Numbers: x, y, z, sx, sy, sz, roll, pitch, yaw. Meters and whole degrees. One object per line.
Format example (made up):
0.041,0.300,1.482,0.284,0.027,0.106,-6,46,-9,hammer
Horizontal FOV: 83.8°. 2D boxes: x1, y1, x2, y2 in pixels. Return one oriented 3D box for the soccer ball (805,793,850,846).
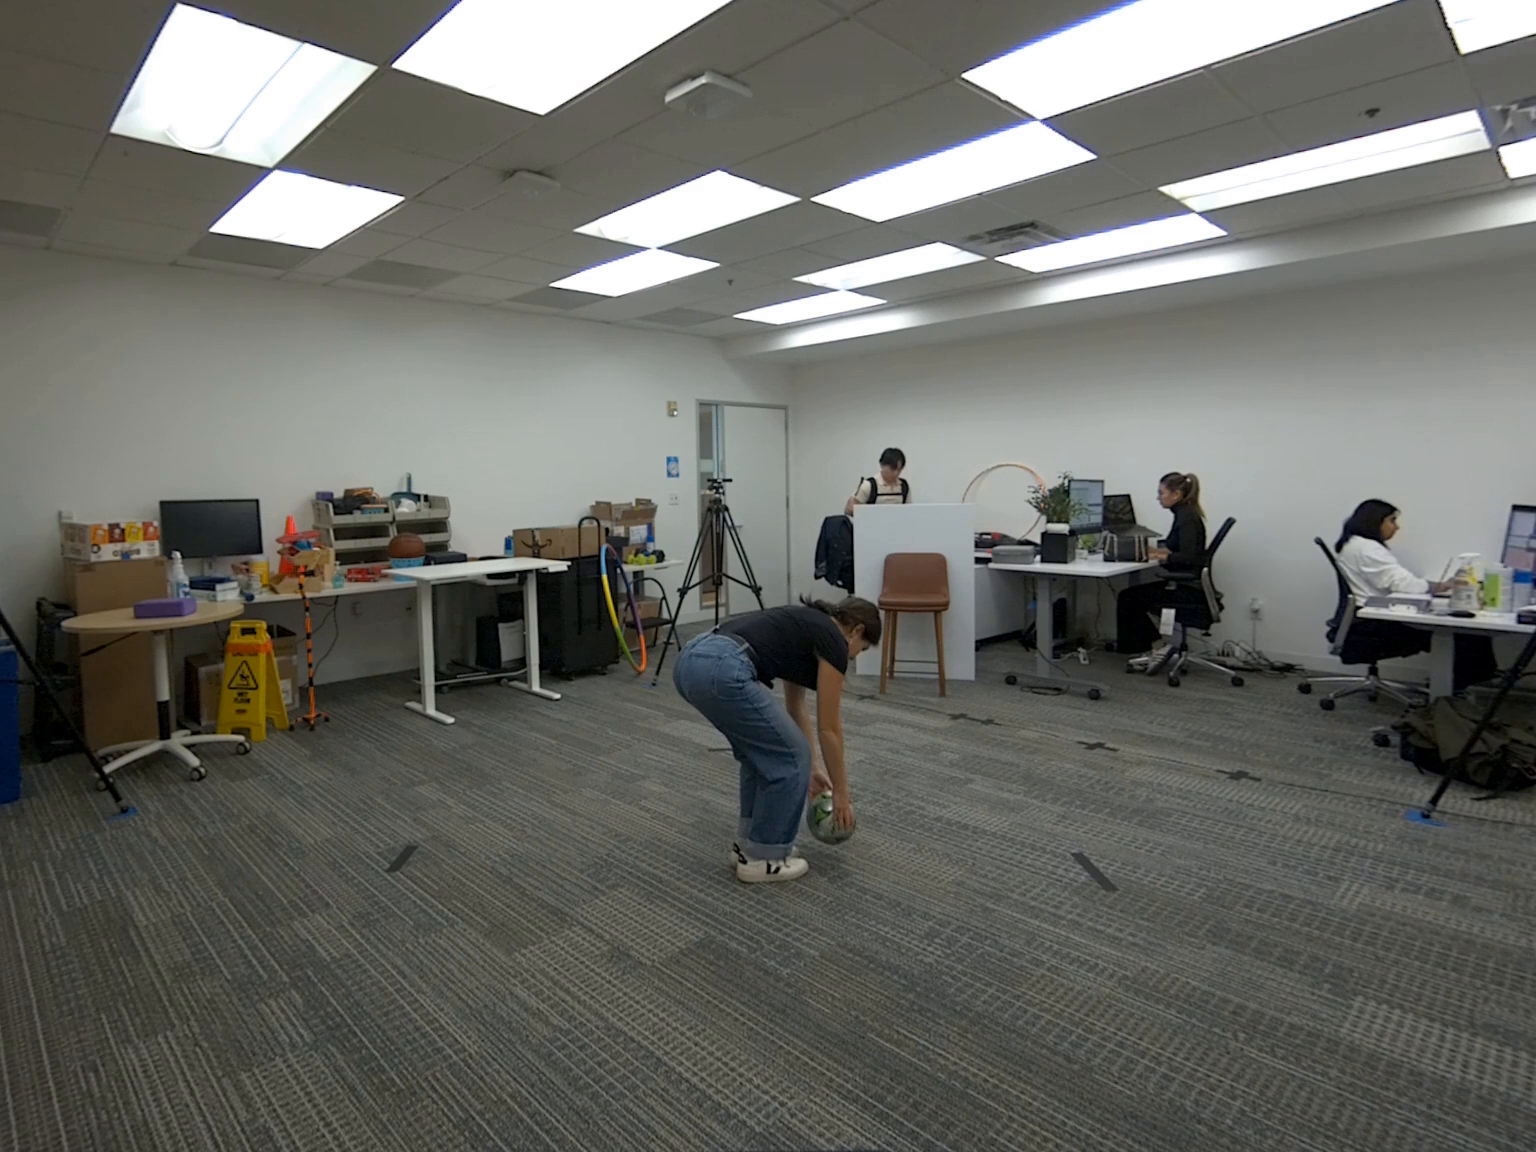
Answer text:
0.230,0.869,3.125,0.187,0.187,0.188,-1,5,-2,soccer ball
